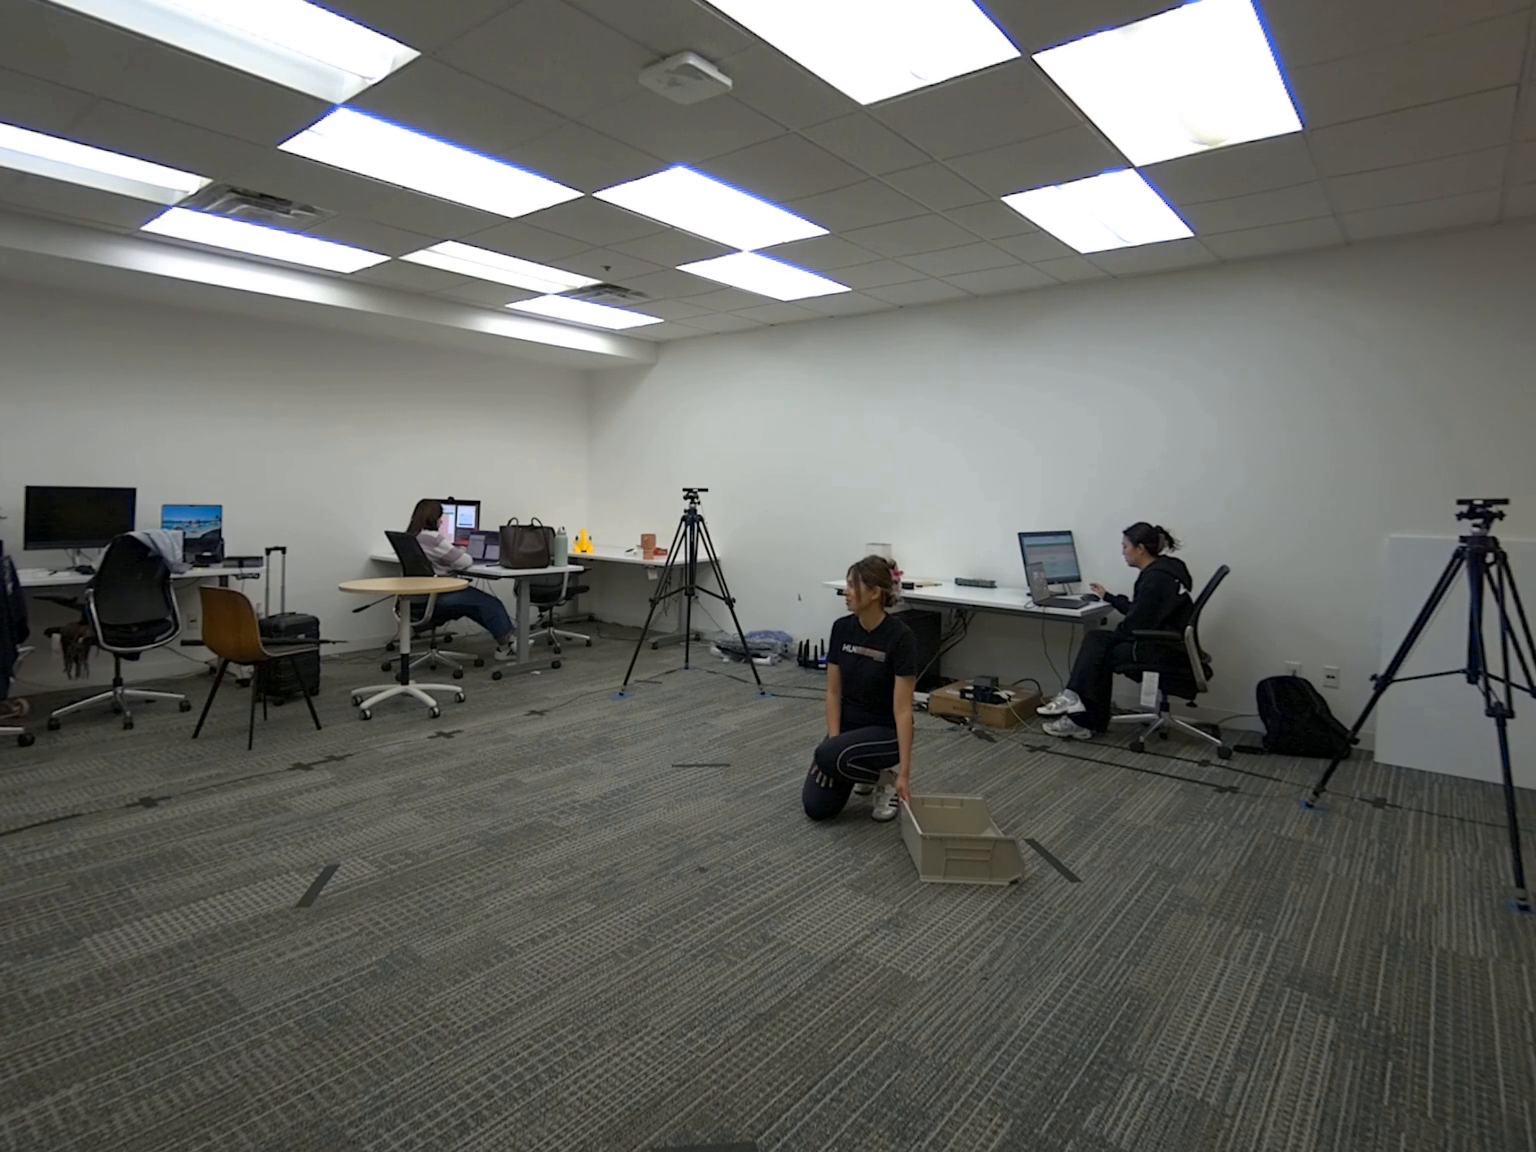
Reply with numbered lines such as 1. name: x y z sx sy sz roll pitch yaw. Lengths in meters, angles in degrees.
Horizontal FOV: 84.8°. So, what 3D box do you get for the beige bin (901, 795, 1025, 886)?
1. beige bin: 0.729 0.994 3.245 0.377 0.188 0.424 0 5 -1
